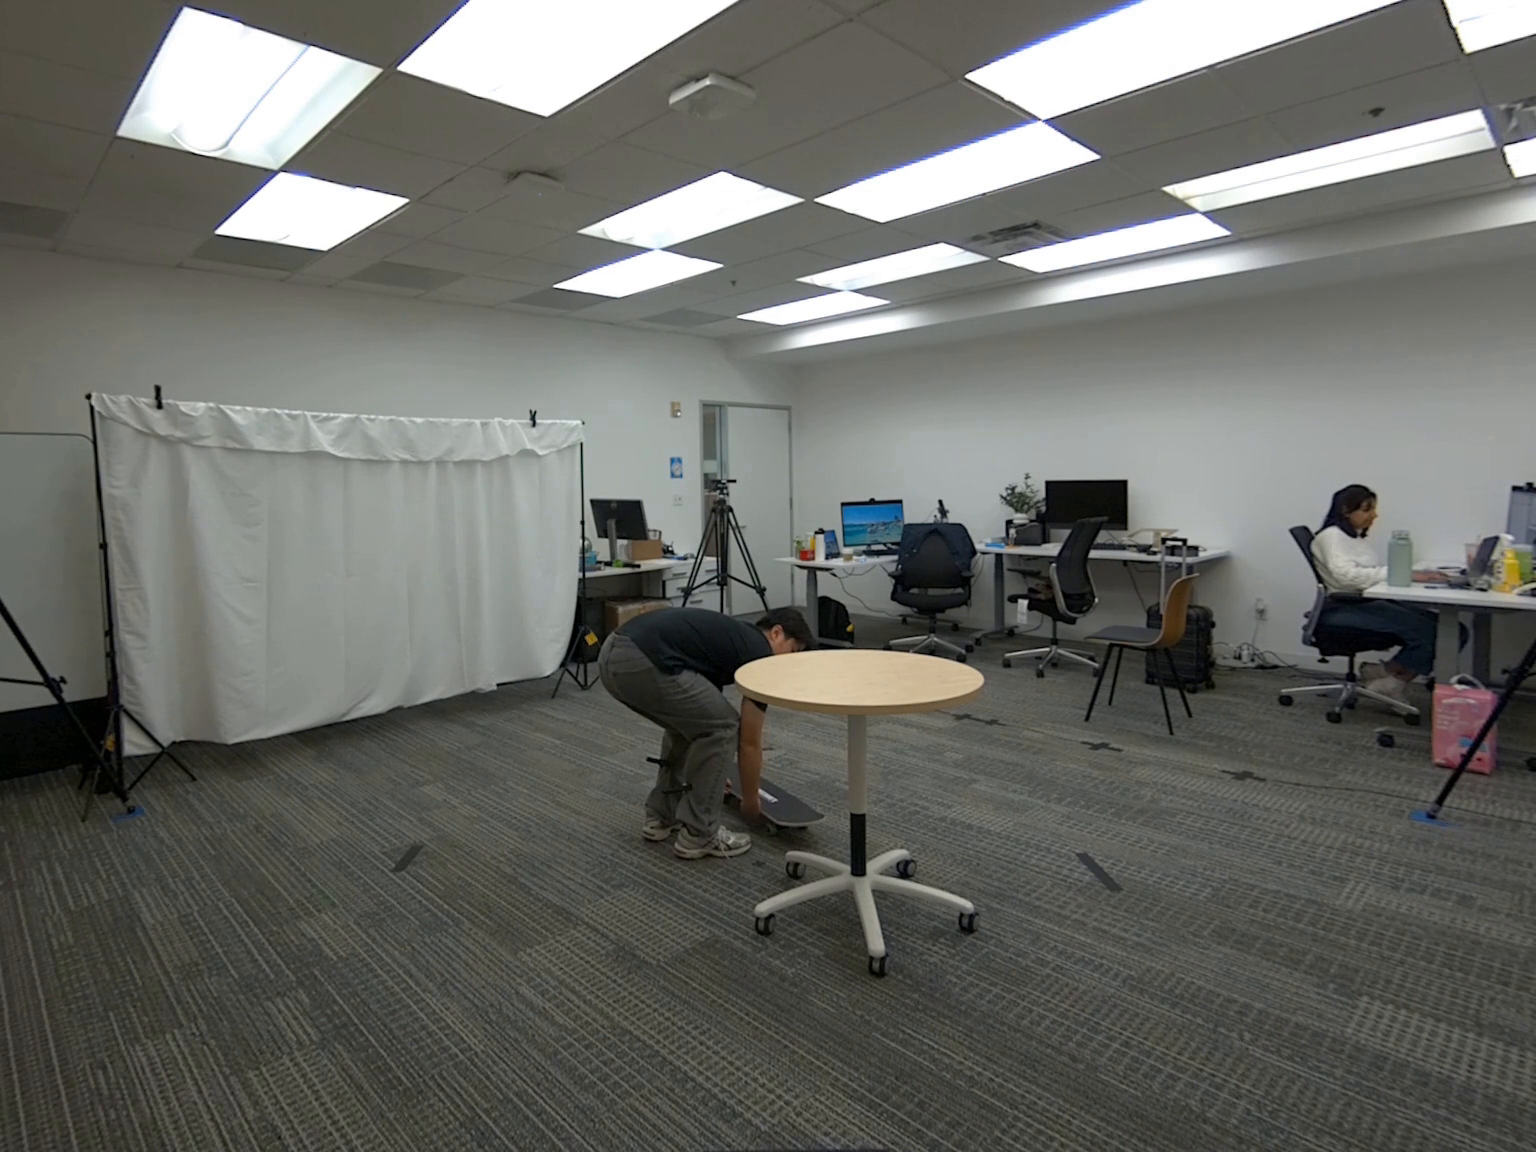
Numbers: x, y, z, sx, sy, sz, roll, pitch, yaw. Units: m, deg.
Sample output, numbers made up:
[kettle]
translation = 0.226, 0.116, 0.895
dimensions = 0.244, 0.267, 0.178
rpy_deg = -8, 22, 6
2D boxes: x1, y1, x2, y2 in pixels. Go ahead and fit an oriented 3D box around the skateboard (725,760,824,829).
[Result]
[skateboard]
translation = -0.022, 0.935, 3.560
dimensions = 0.189, 0.110, 0.807
rpy_deg = -3, 6, -30
